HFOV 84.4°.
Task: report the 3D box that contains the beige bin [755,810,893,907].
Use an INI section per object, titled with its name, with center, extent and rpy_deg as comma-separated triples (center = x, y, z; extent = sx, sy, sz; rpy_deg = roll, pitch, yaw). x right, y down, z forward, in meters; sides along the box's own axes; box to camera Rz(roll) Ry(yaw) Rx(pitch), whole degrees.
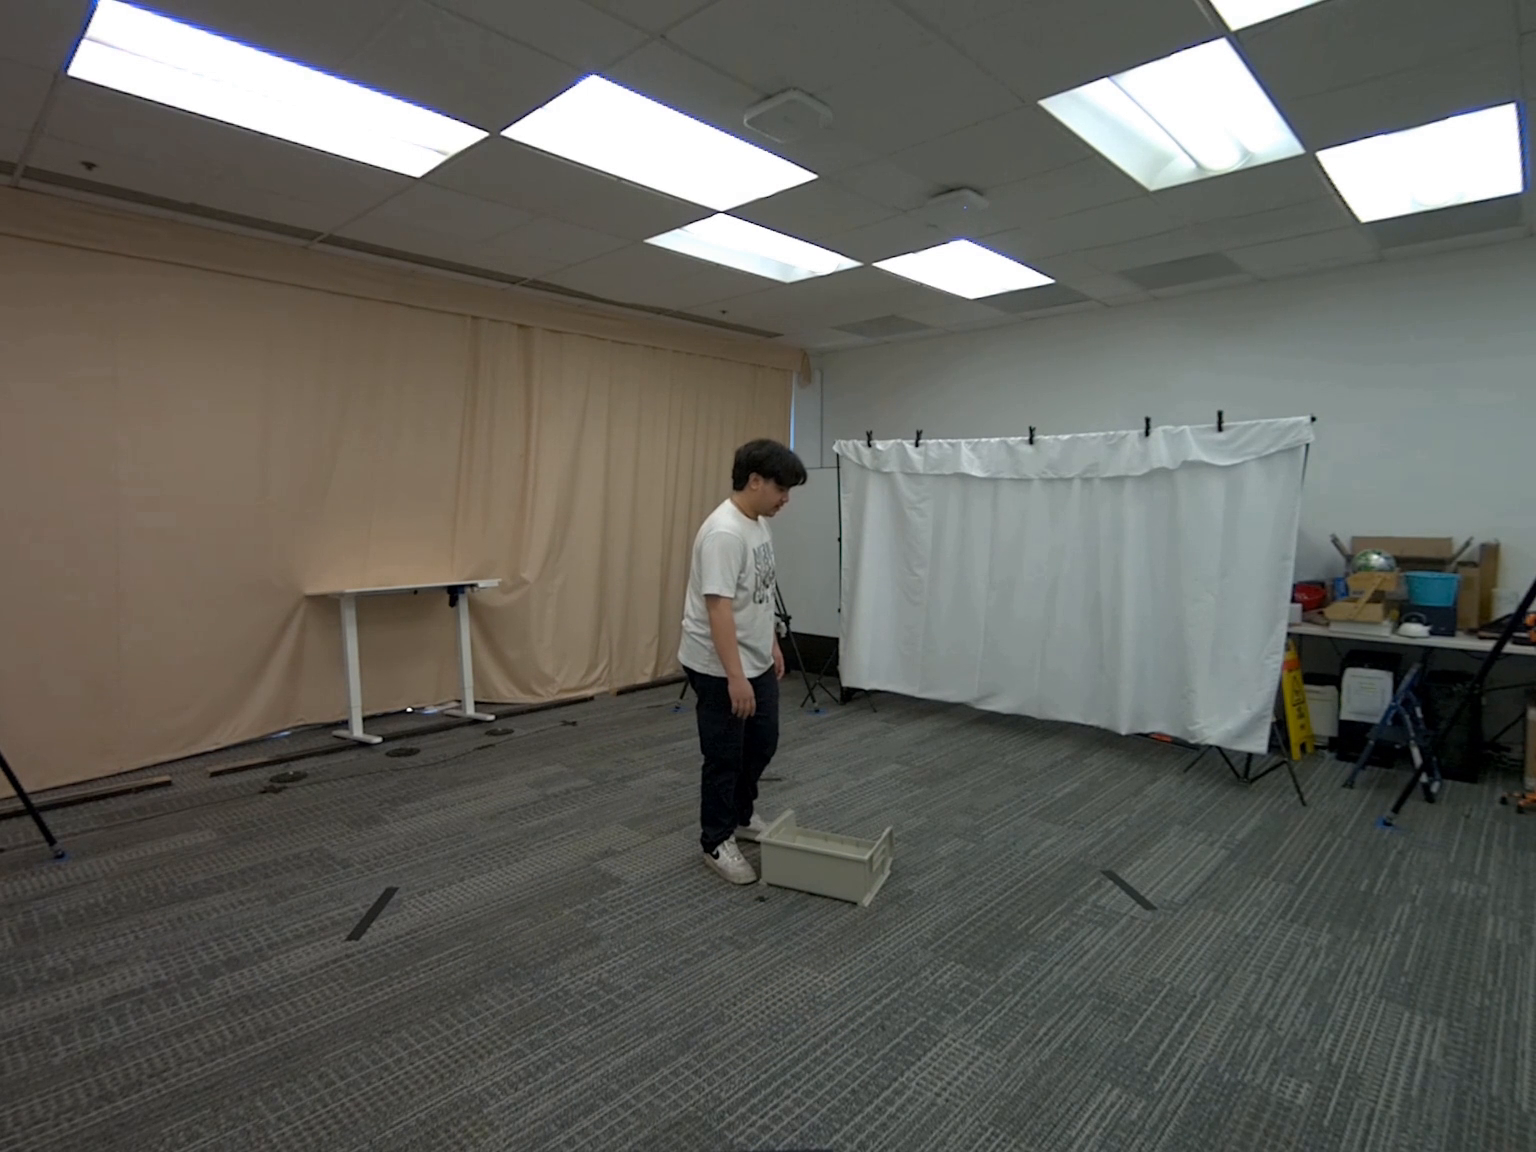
[beige bin]
center = 0.221, 1.038, 3.160
extent = 0.433, 0.188, 0.369
rpy_deg = 3, 6, 25
